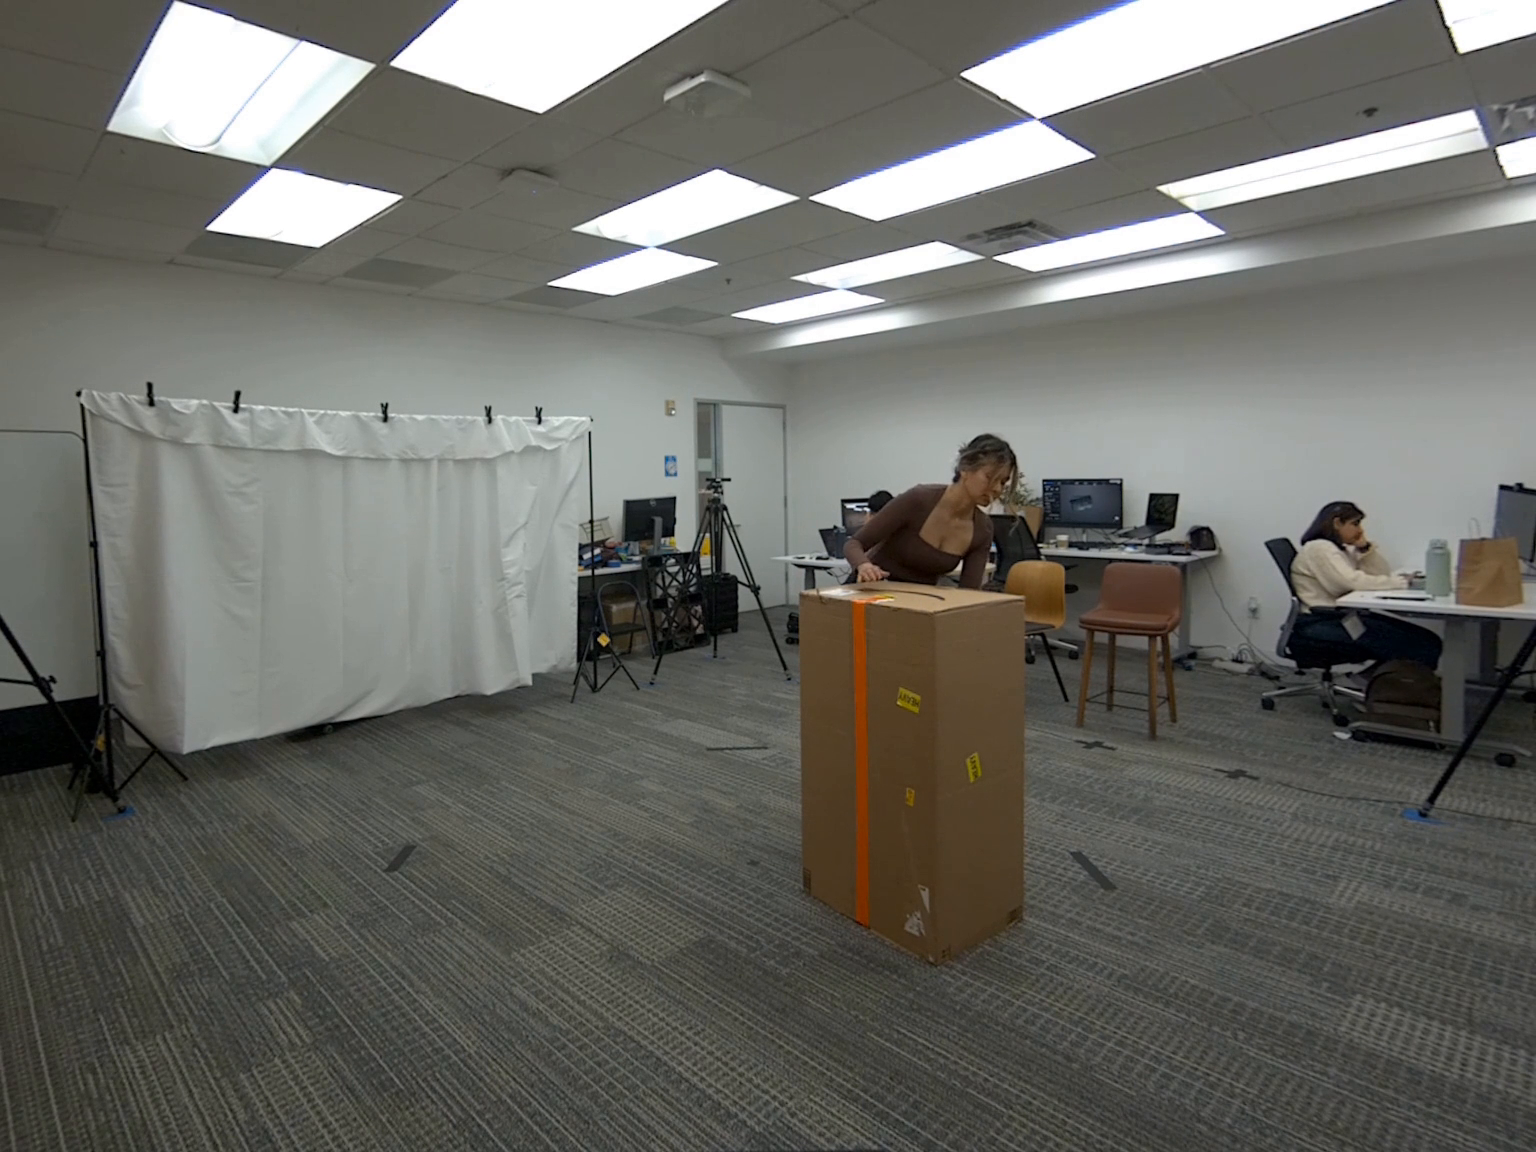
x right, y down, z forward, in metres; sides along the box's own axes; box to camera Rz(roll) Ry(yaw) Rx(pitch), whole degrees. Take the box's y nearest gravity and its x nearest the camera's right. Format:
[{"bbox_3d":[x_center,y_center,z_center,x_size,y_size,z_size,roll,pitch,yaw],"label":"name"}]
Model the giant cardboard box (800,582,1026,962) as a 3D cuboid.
[{"bbox_3d":[0.451,0.563,2.745,0.435,1.023,0.601,-5,6,-37],"label":"giant cardboard box"}]
